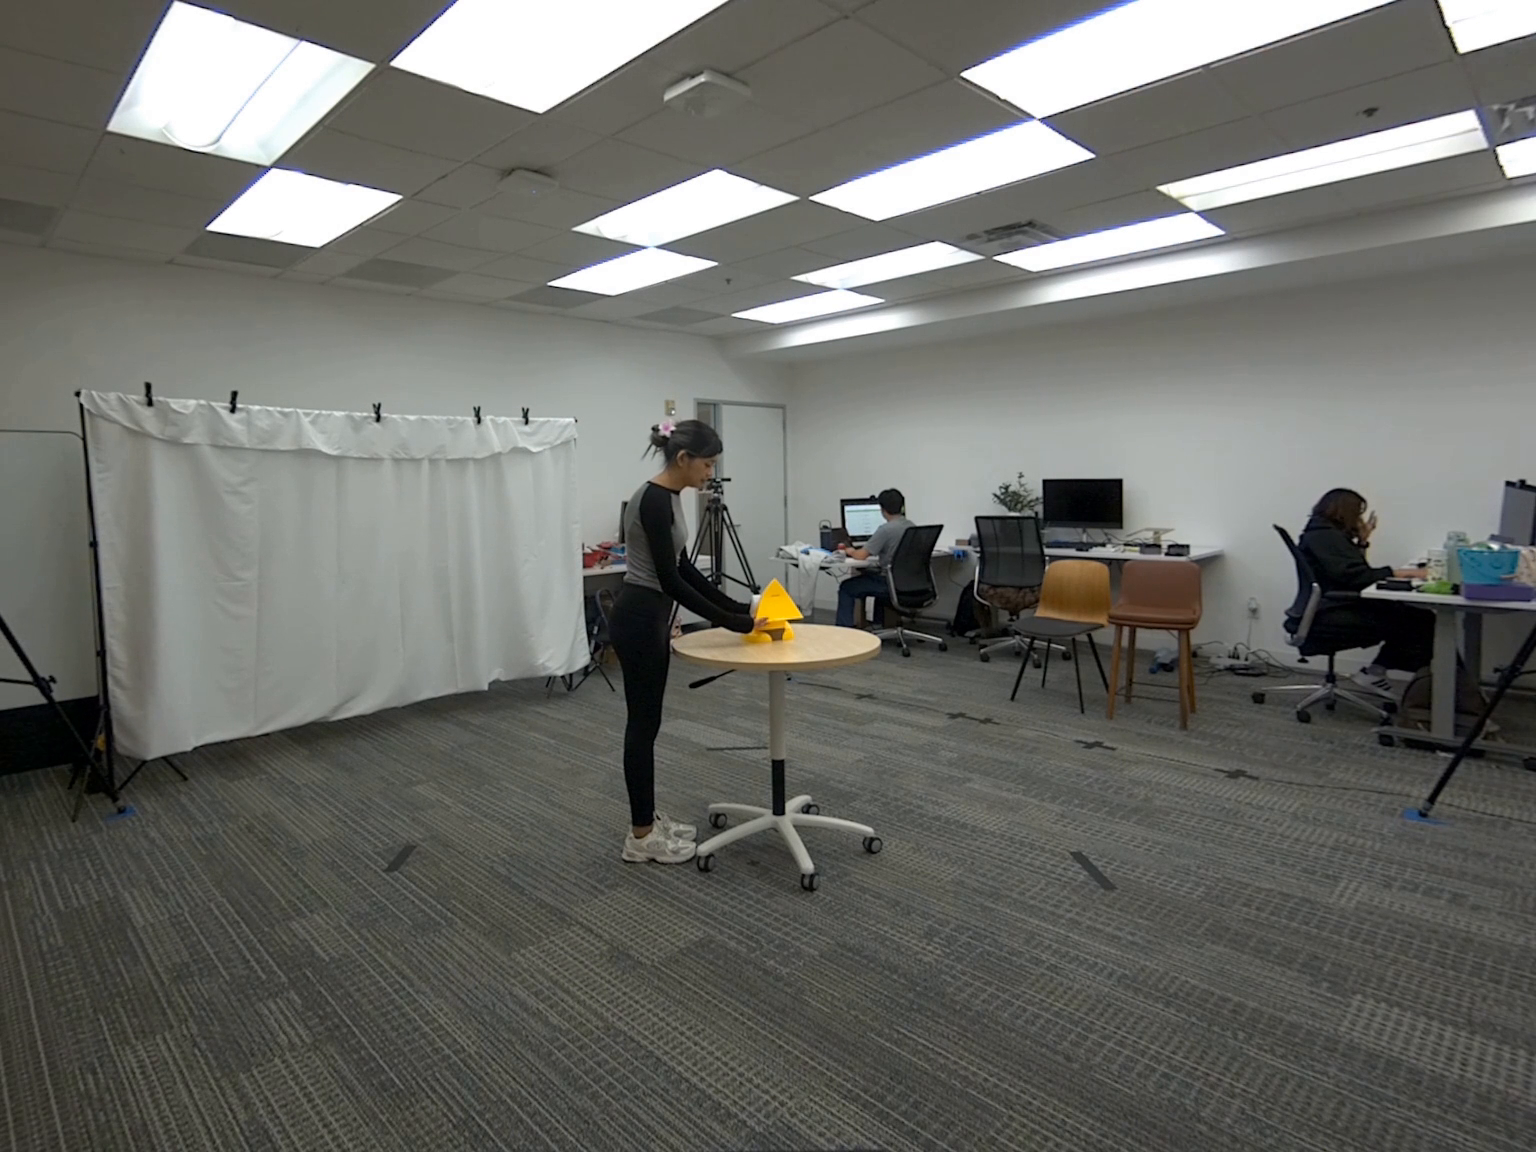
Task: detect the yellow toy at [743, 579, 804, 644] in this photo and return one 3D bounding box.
[{"bbox_3d":[-0.003,0.121,3.222,0.200,0.230,0.198,-3,3,-28],"label":"yellow toy"}]
